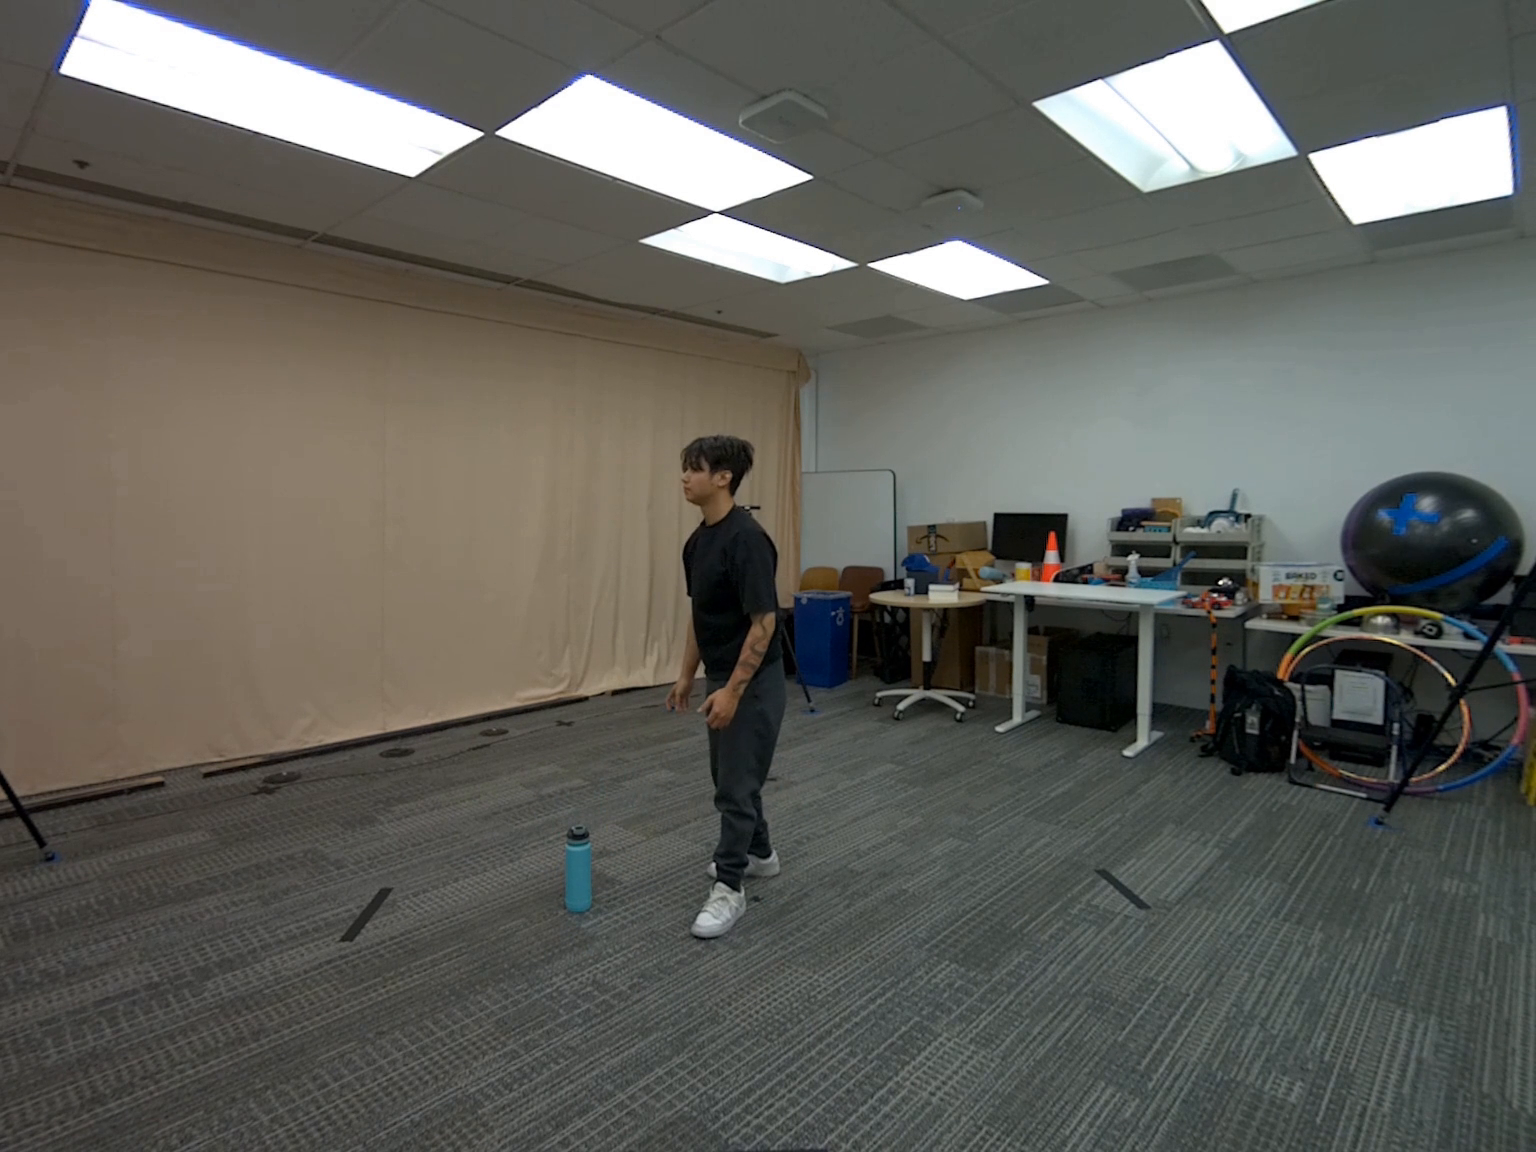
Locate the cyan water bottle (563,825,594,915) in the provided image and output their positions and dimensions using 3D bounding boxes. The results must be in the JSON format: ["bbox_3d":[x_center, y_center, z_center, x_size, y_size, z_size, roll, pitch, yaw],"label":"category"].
[{"bbox_3d":[-0.666,1.013,2.935,0.092,0.282,0.093,-1,4,-2],"label":"cyan water bottle"}]
